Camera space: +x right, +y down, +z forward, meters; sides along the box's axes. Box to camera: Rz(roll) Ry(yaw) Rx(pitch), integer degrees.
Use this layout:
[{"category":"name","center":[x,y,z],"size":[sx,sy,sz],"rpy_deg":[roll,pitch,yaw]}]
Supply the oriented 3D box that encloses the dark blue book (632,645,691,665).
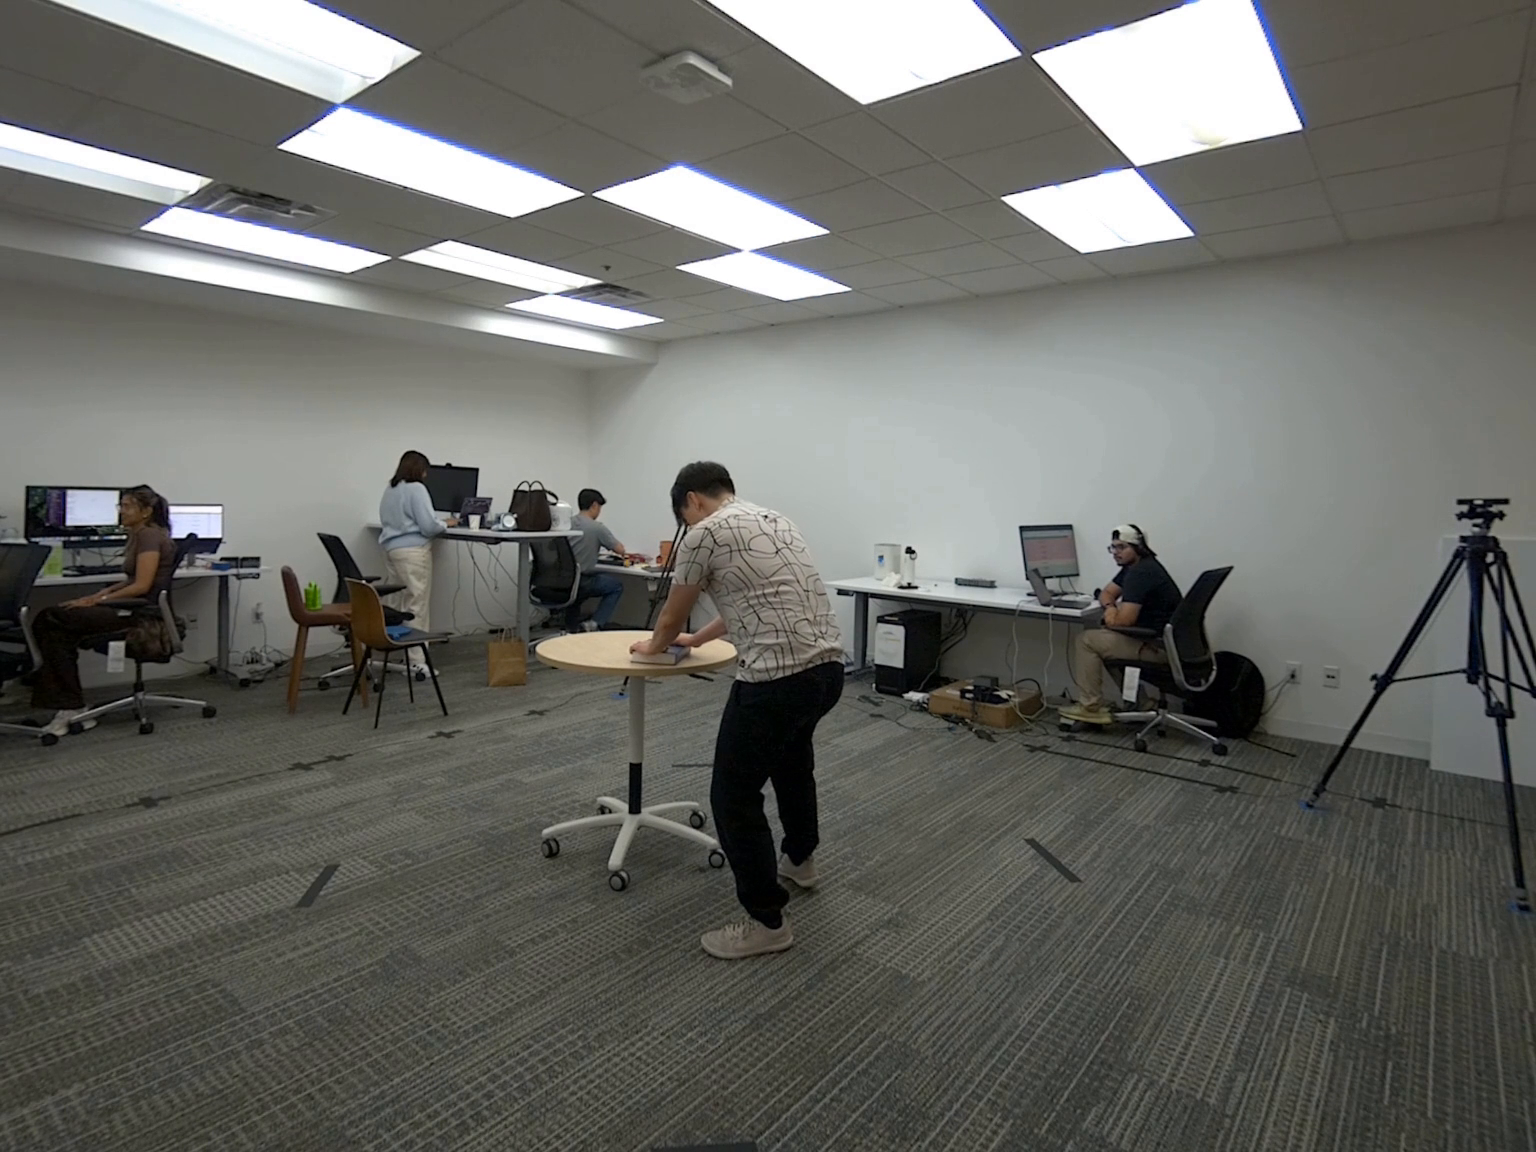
[{"category":"dark blue book","center":[-0.397,0.275,3.066],"size":[0.165,0.045,0.243],"rpy_deg":[3,6,8]}]
